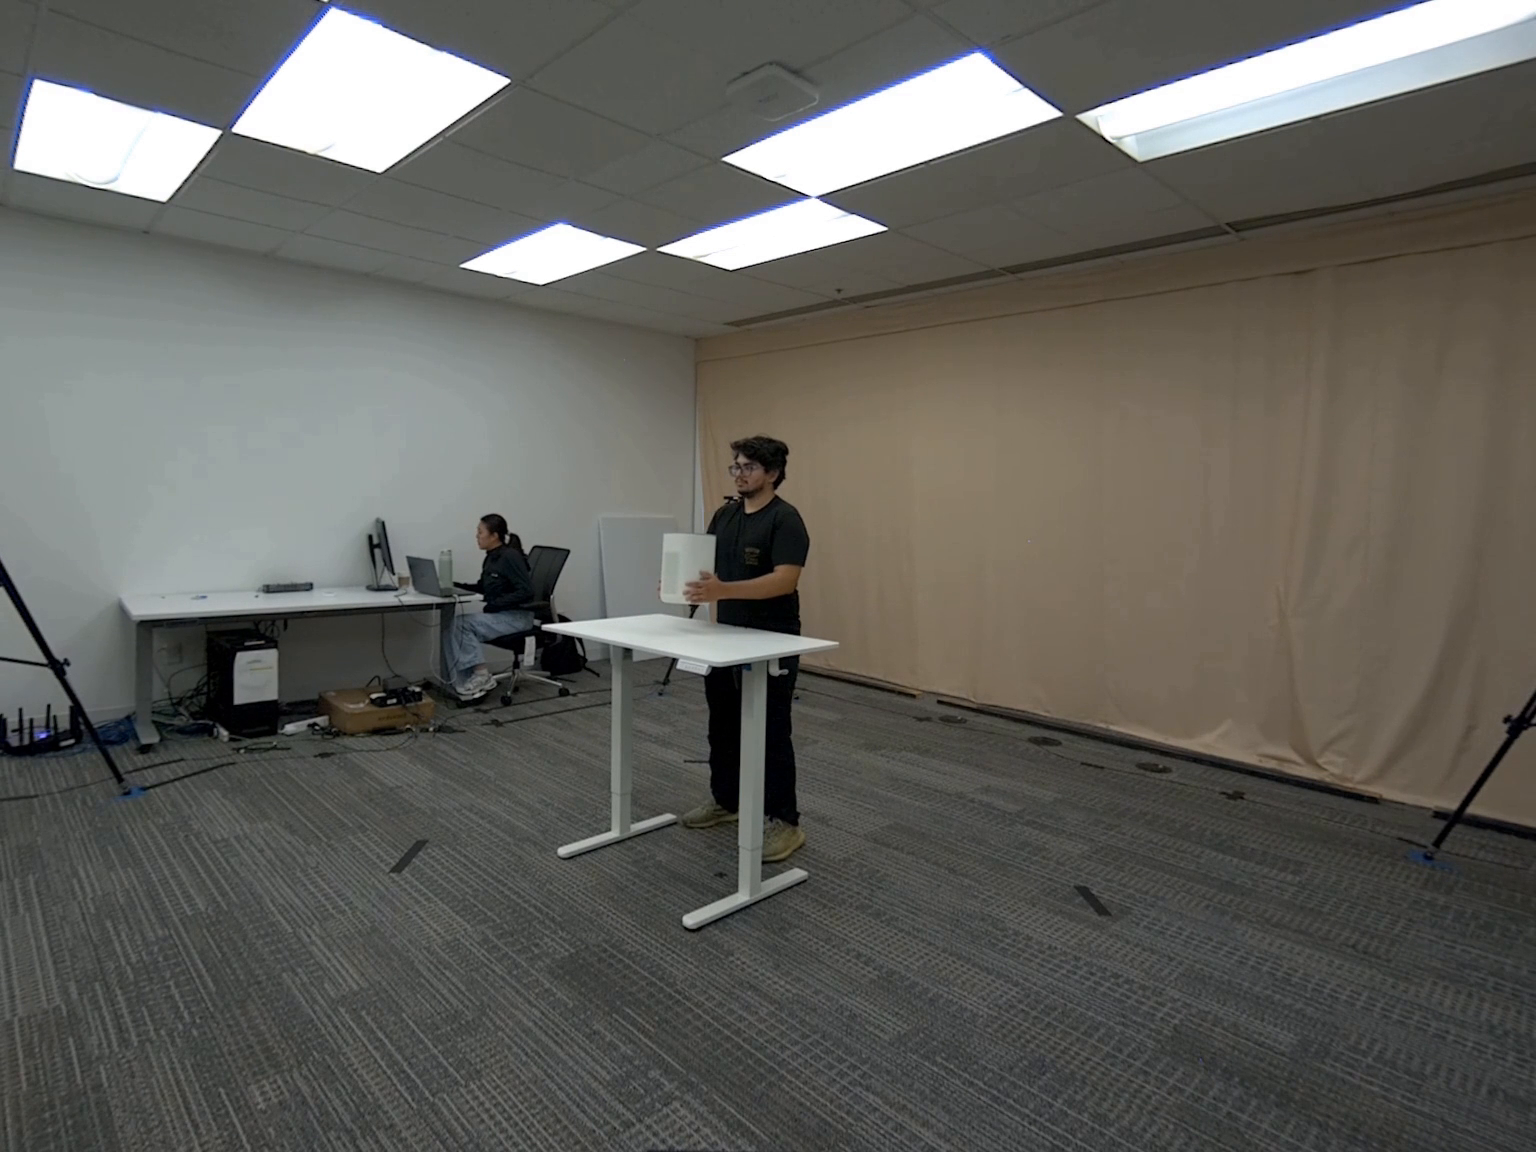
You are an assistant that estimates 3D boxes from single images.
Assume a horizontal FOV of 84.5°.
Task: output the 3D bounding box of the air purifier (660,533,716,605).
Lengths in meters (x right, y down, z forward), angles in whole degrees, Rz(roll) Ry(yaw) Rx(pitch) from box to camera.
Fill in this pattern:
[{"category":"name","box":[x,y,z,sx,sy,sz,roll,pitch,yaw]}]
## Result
[{"category":"air purifier","box":[-0.311,-0.027,3.191,0.175,0.266,0.167,-1,-4,44]}]
